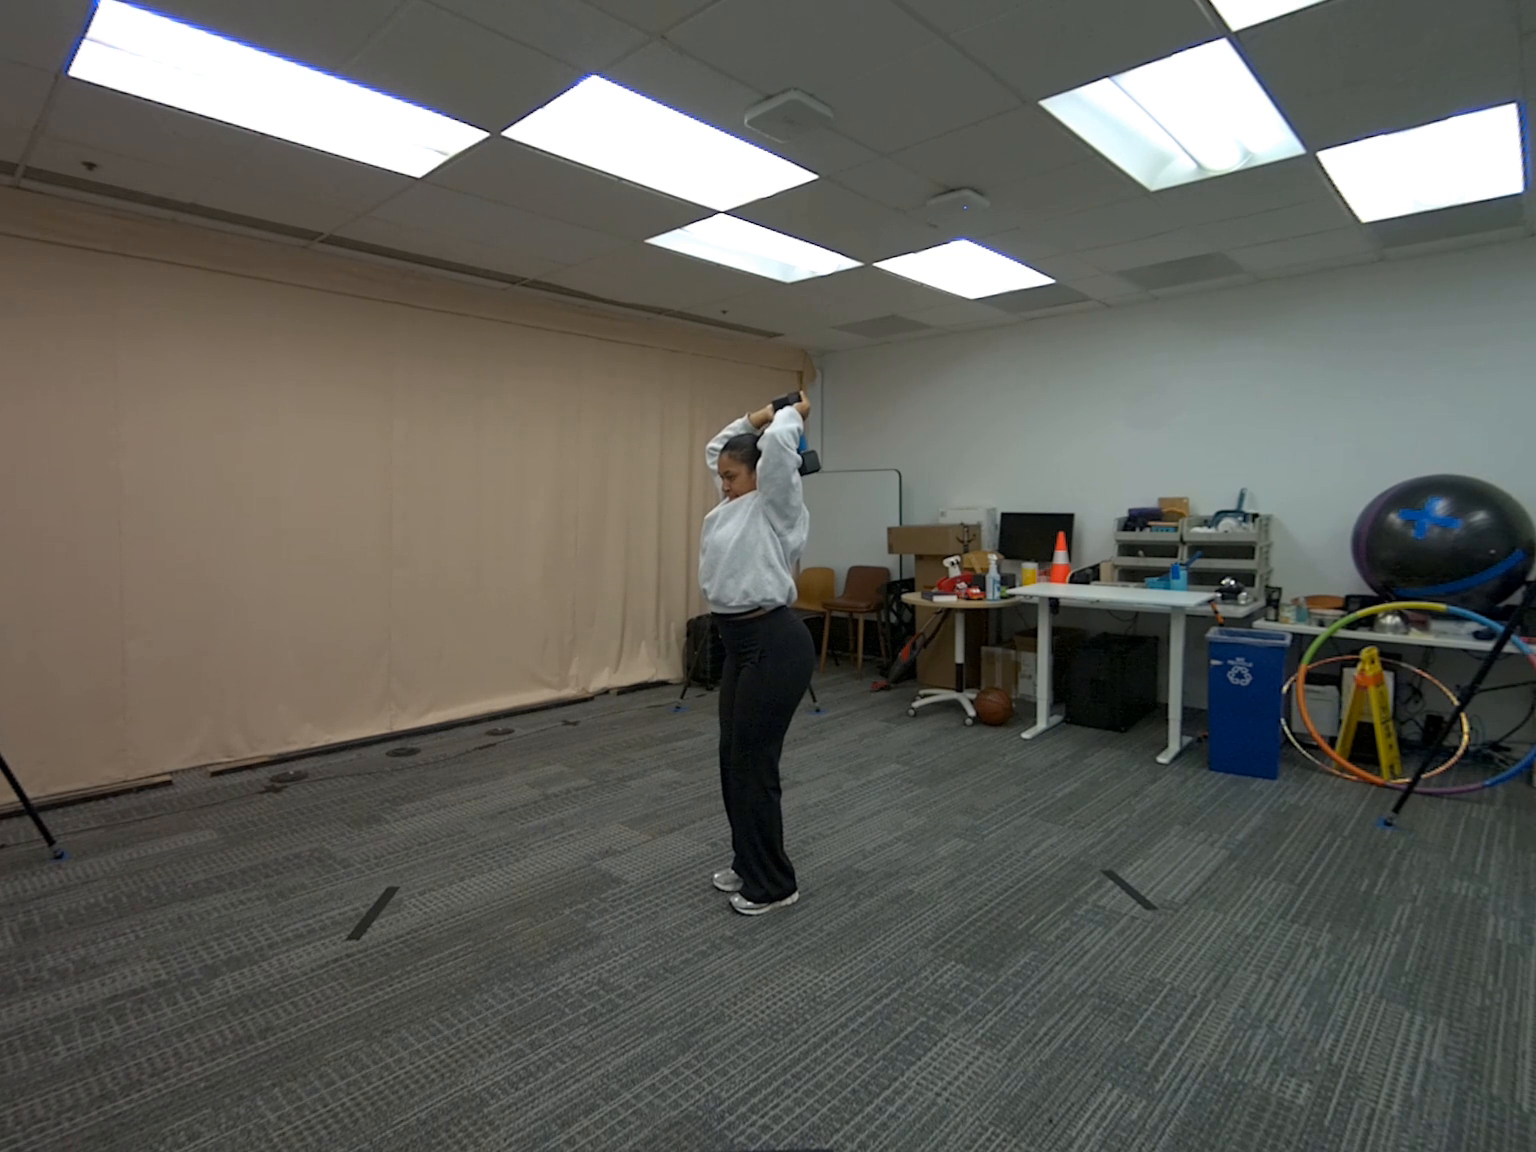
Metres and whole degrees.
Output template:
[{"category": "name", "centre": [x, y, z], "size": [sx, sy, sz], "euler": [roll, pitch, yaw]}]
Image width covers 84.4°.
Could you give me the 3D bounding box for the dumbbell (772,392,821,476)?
[{"category": "dumbbell", "centre": [0.102, -0.502, 2.979], "size": [0.126, 0.292, 0.106], "euler": [-12, 6, 31]}]
